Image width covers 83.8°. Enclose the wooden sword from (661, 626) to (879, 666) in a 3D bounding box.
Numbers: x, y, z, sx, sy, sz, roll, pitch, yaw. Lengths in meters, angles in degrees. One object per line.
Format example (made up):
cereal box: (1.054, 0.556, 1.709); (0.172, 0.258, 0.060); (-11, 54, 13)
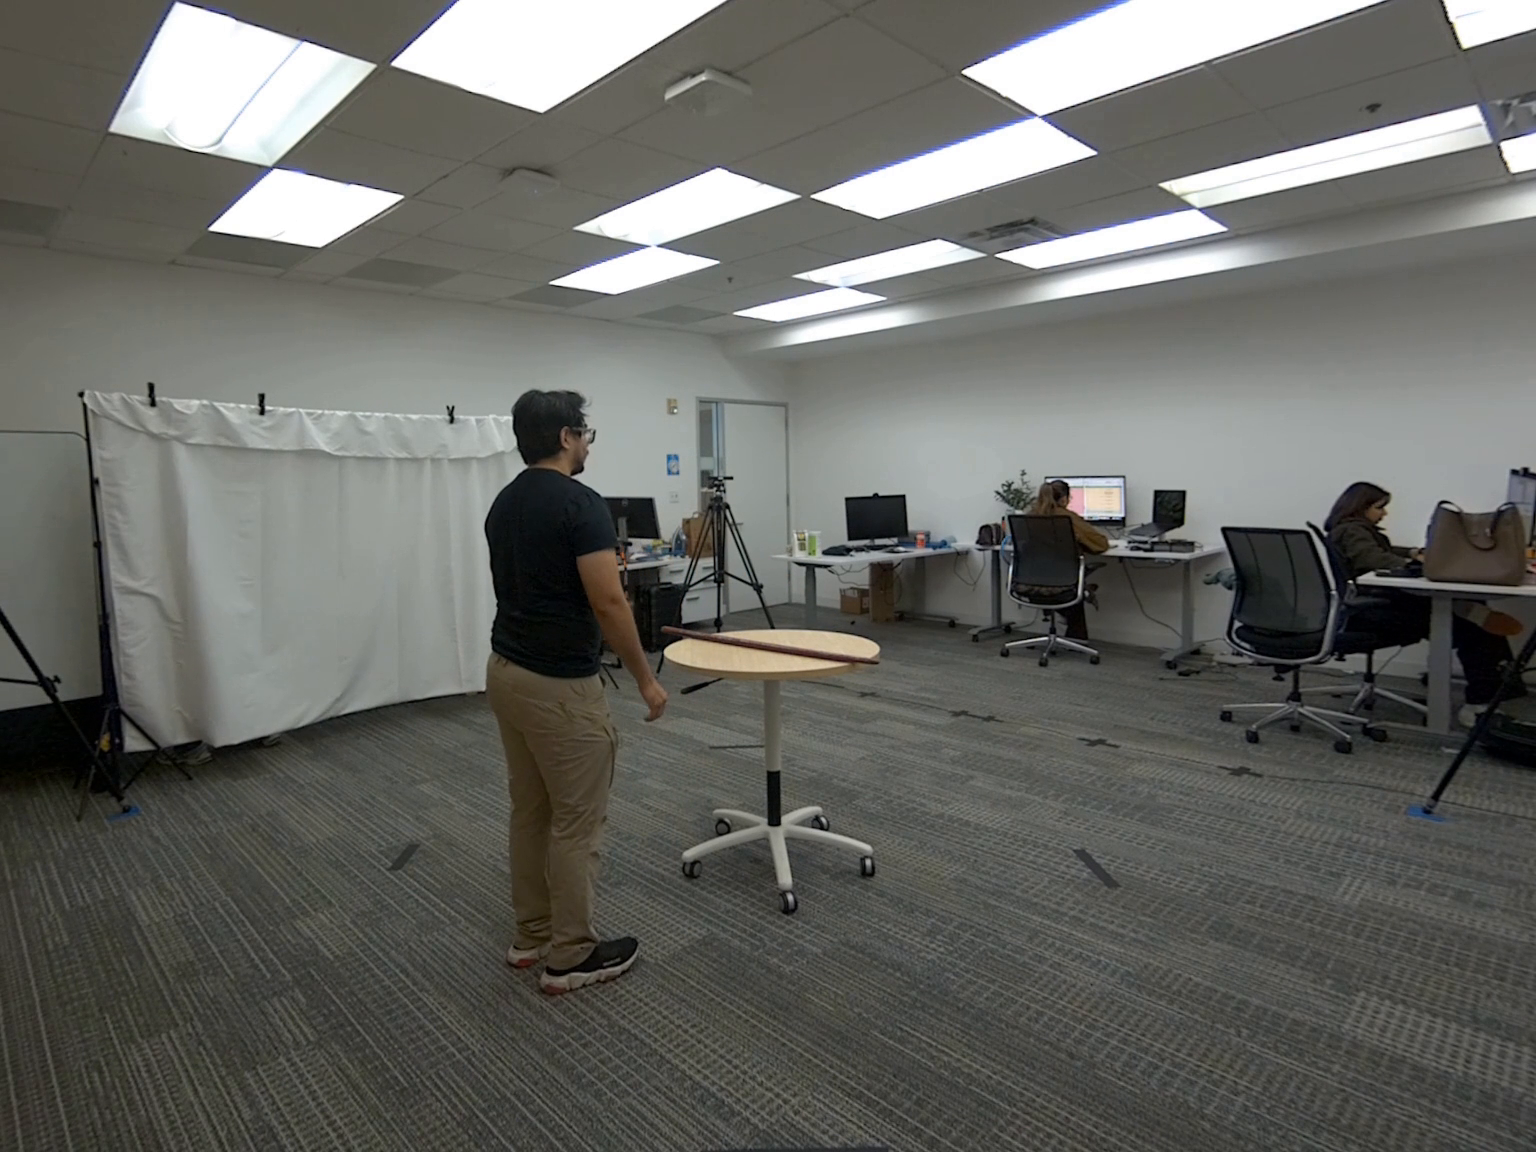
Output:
wooden sword: (-0.028, 0.259, 3.079); (1.056, 0.051, 0.023); (4, -34, 44)
